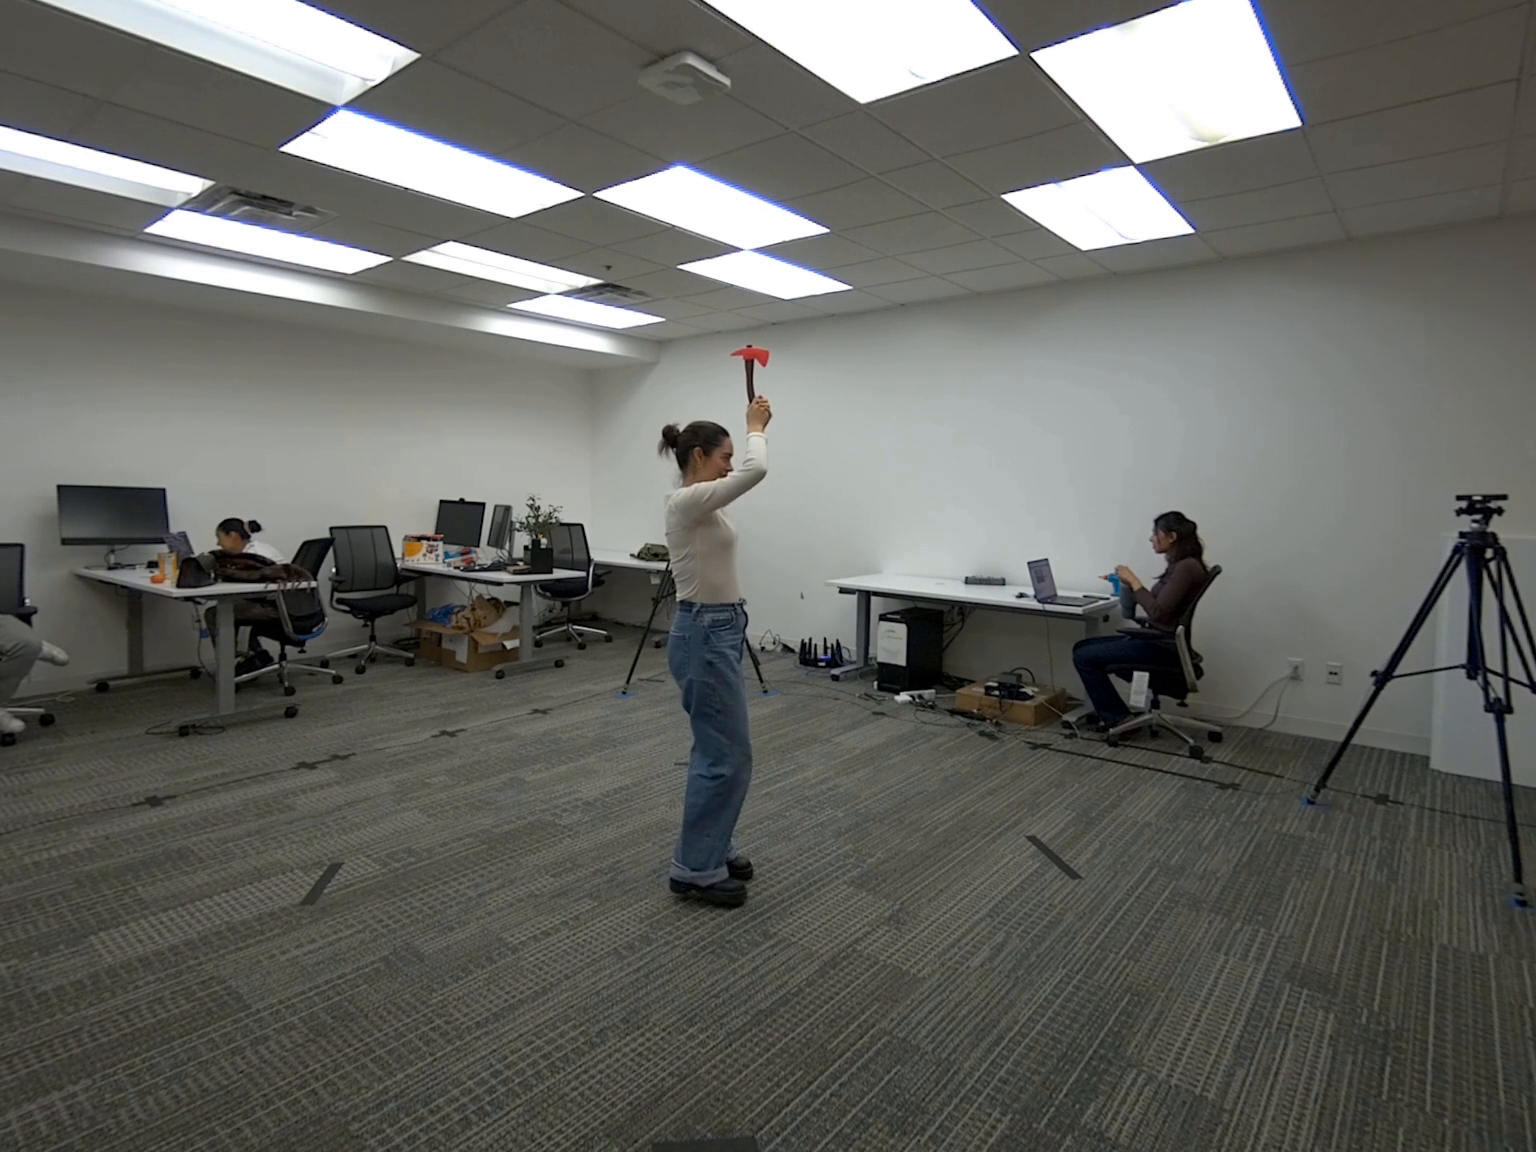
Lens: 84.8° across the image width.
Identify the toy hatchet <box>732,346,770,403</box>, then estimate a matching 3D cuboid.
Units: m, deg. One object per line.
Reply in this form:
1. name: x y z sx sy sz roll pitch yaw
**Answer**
1. toy hatchet: -0.036 -0.685 2.974 0.132 0.269 0.029 -19 2 10
